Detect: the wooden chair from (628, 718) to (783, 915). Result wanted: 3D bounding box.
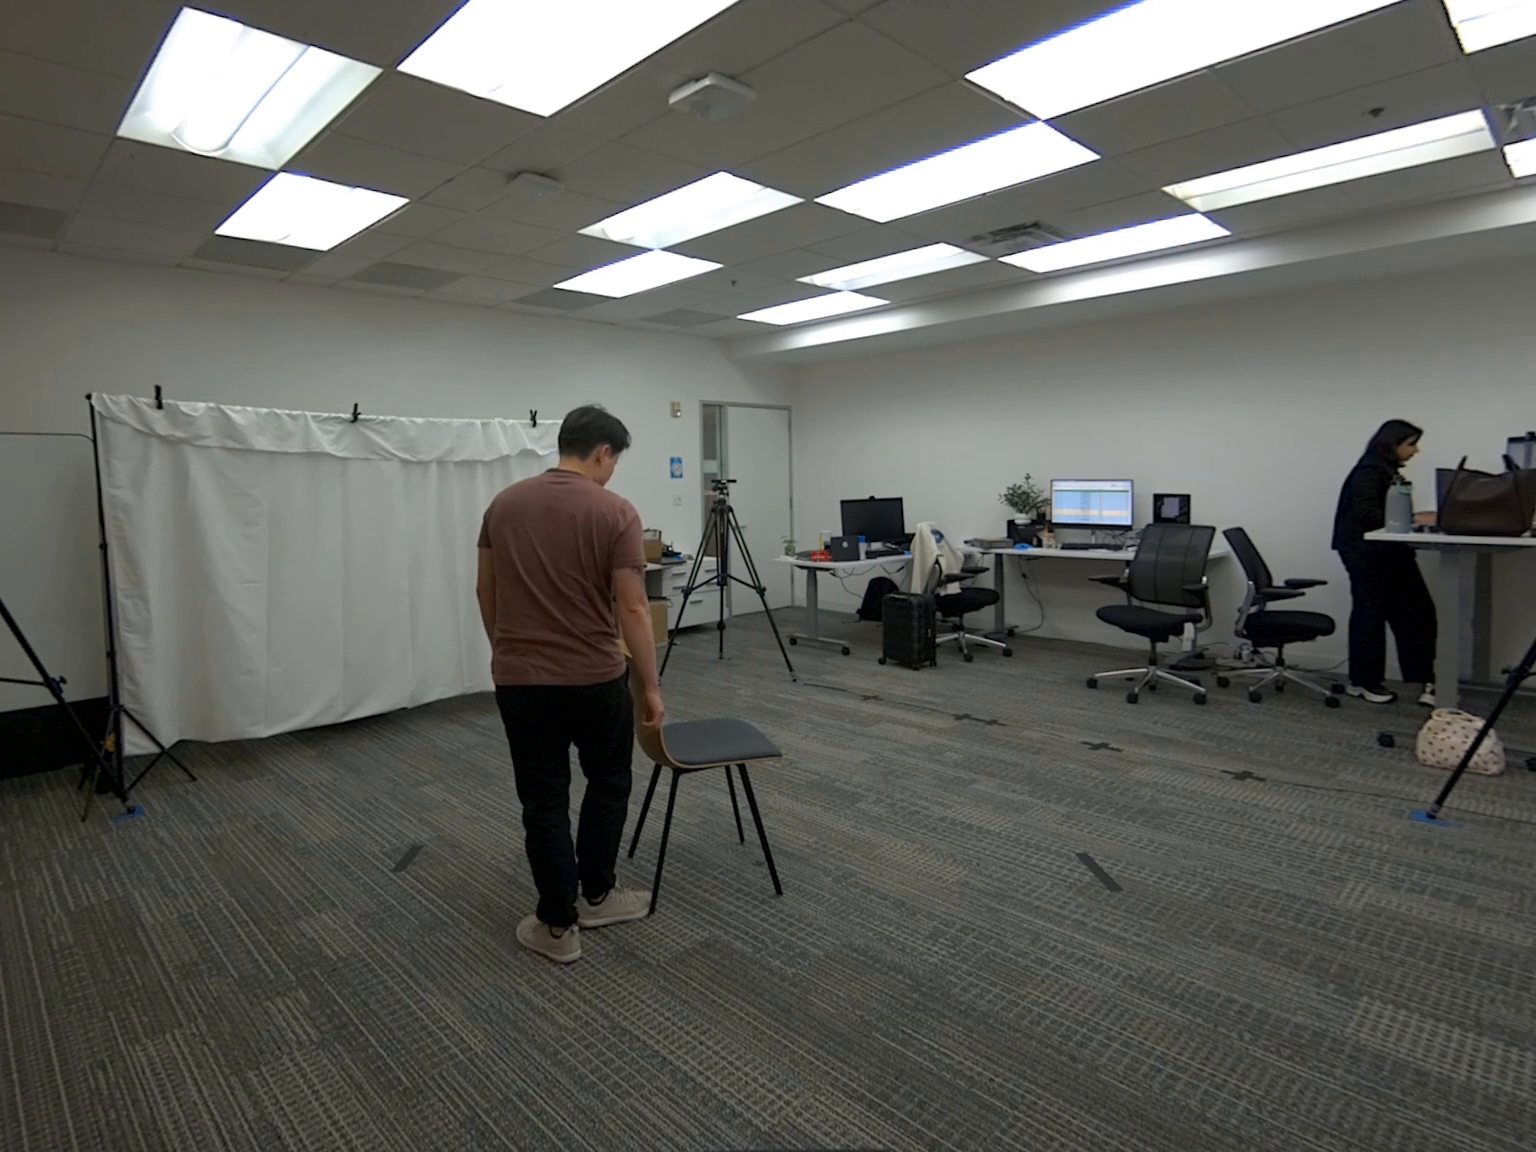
[{"bbox_3d":[-0.236,0.638,2.997,0.516,0.873,0.487,-6,5,-16],"label":"wooden chair"}]
